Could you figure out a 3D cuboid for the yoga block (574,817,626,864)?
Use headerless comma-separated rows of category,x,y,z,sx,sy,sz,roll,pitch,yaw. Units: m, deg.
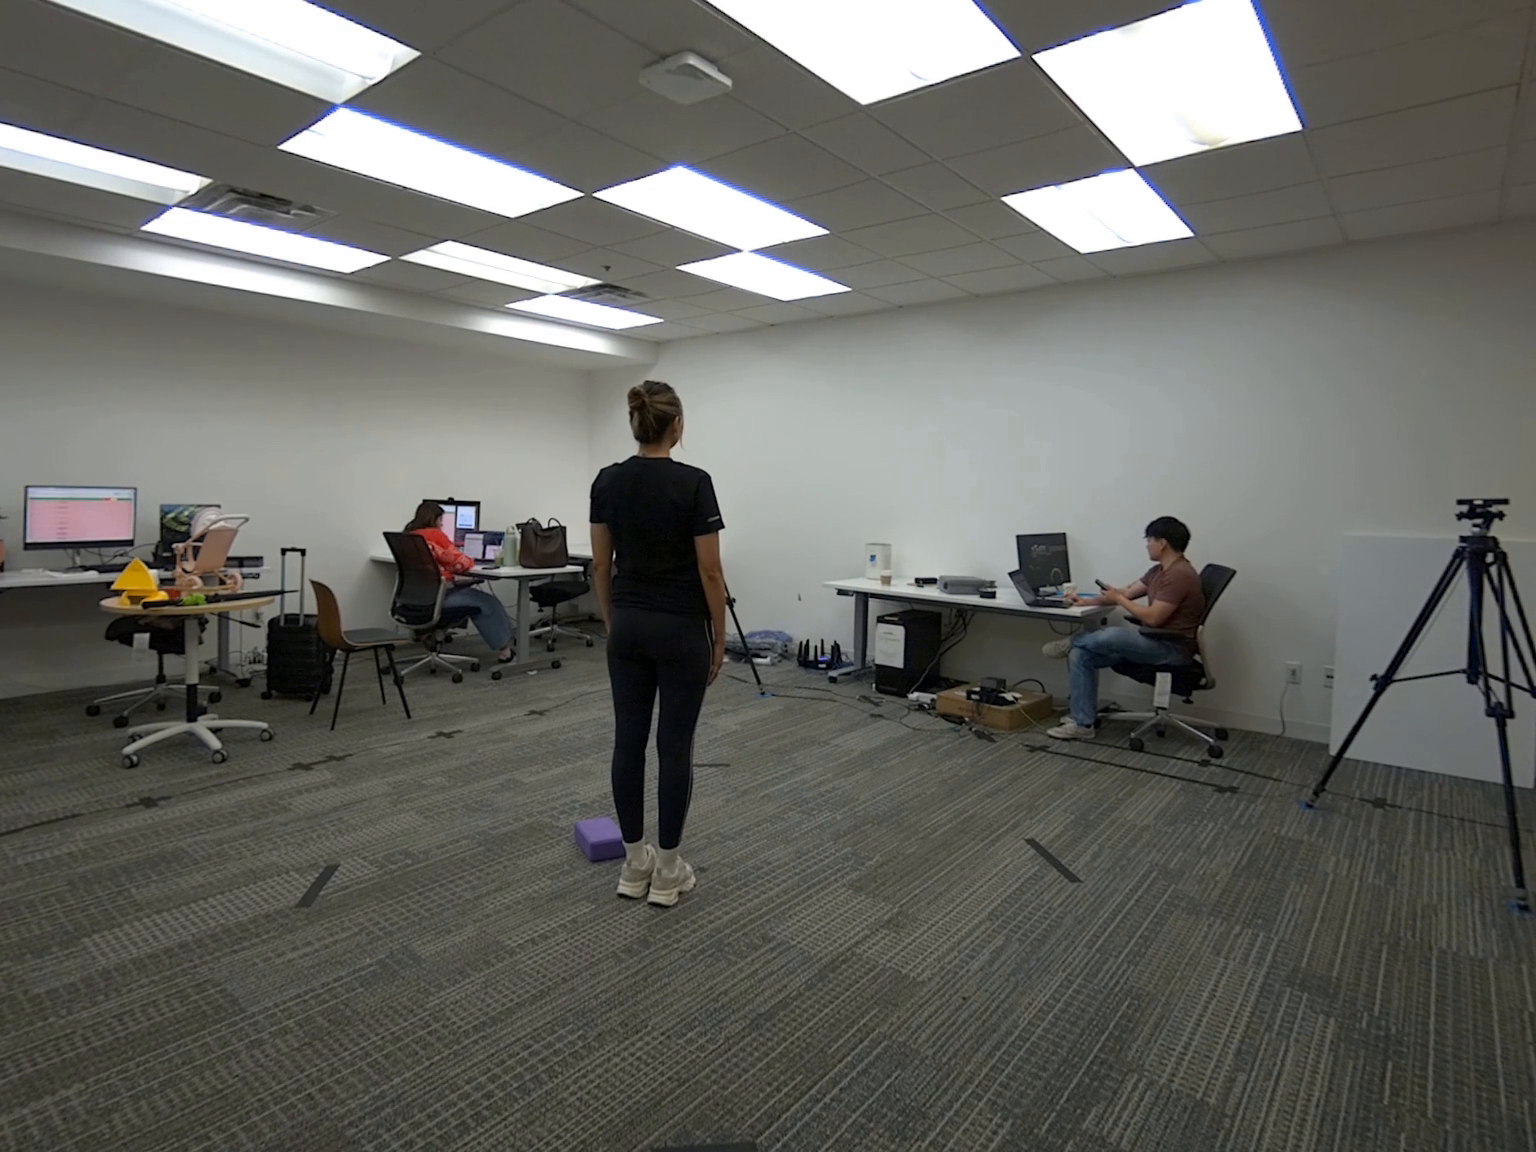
yoga block,-0.657,1.006,3.268,0.145,0.076,0.236,-1,6,-28
